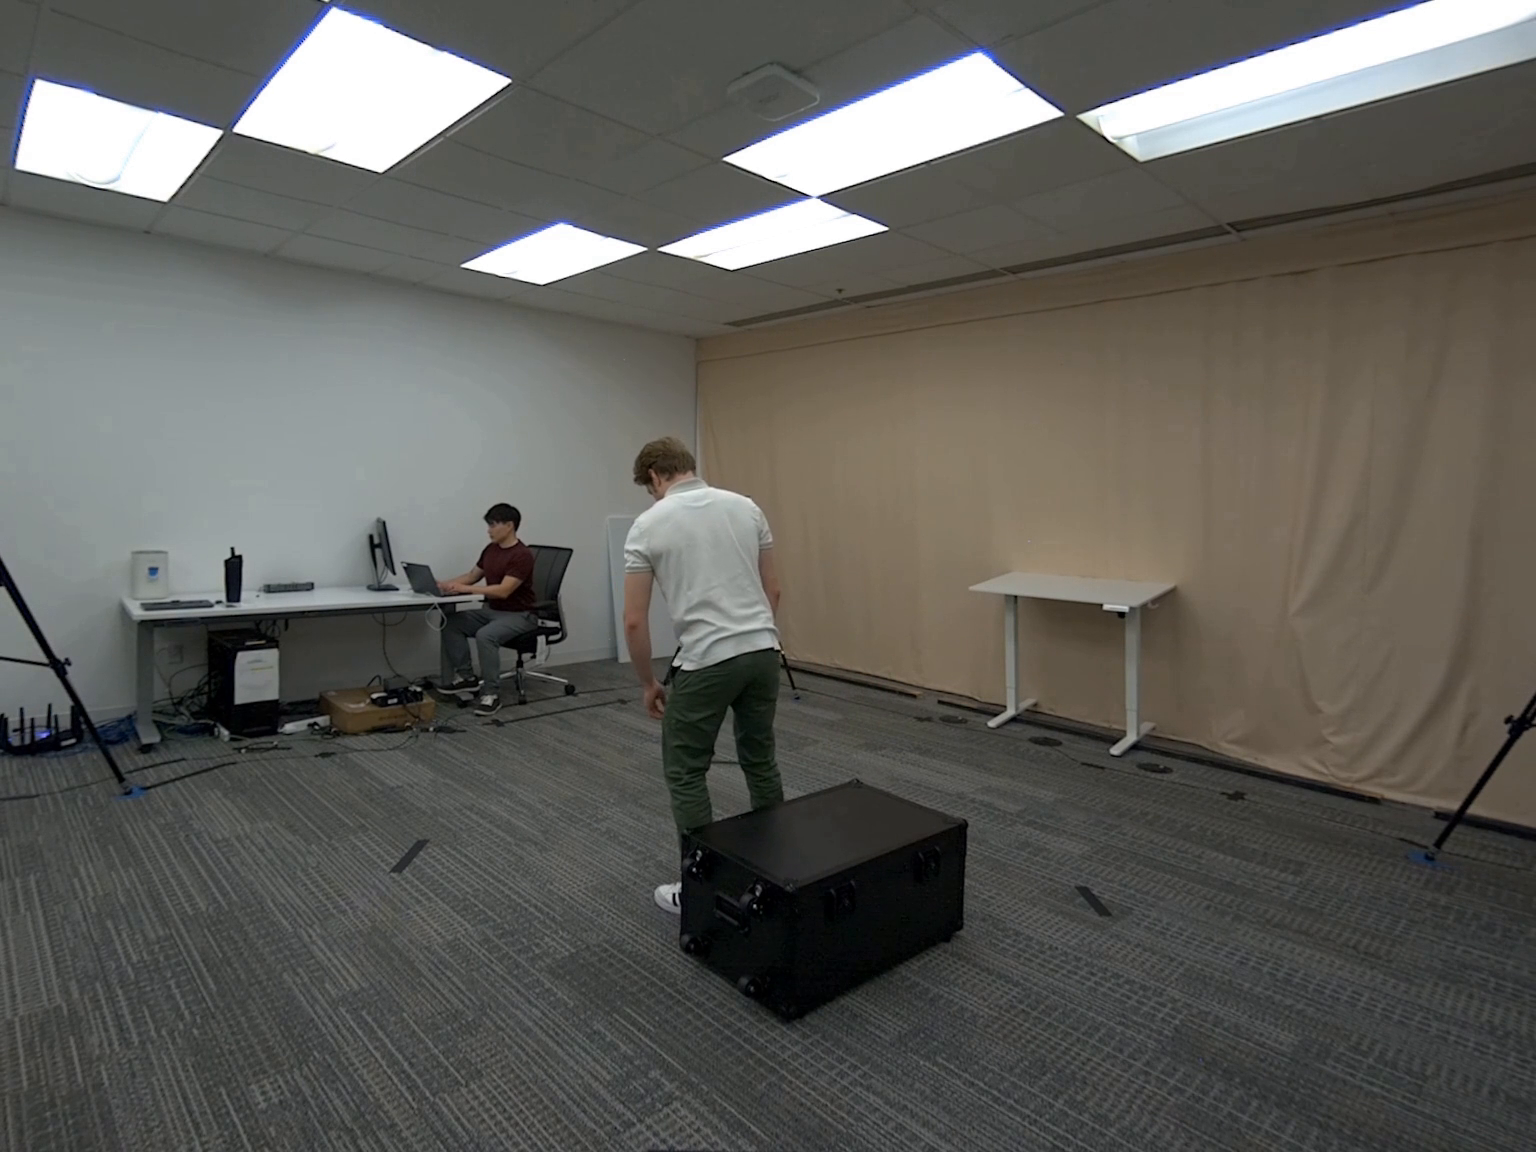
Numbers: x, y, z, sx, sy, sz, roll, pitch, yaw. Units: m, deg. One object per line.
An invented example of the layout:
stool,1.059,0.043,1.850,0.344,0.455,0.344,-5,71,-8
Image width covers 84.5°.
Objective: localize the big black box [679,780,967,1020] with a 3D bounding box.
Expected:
big black box,0.150,0.960,2.610,0.849,0.384,0.537,-3,8,-41
